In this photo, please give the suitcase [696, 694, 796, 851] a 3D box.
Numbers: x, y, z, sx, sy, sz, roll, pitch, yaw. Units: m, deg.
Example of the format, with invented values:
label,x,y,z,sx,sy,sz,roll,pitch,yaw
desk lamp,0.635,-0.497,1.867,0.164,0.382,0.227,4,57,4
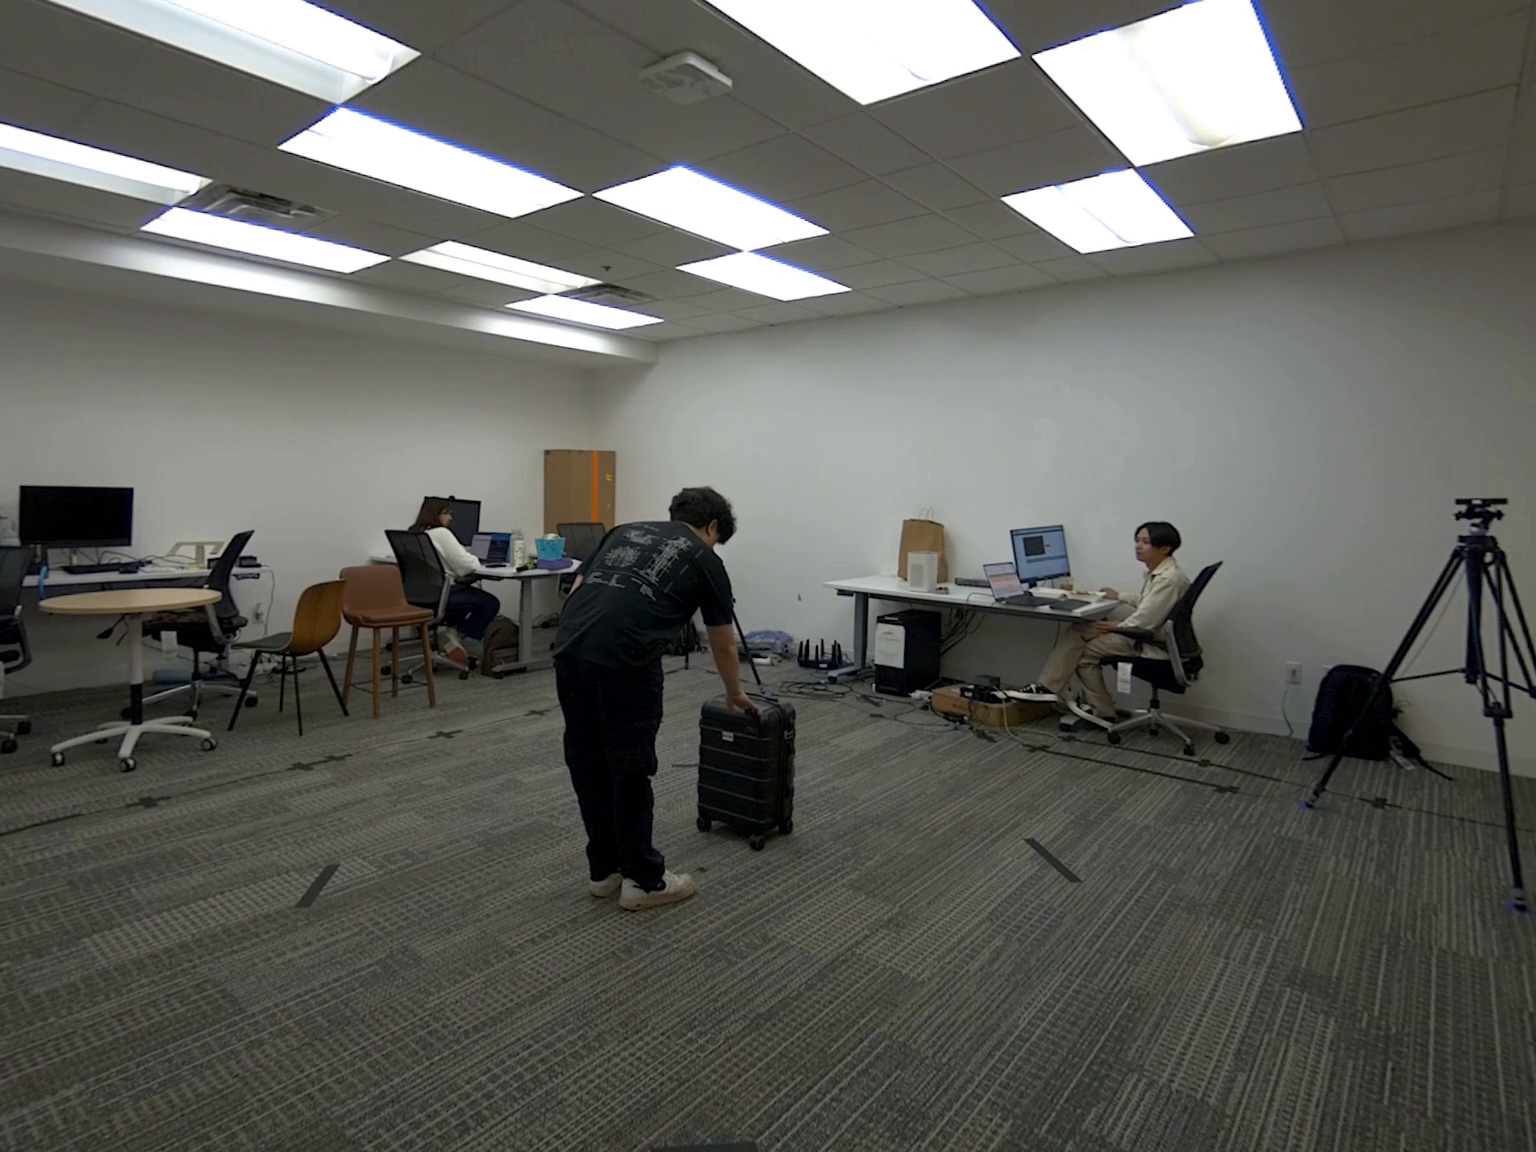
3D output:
label,x,y,z,sx,sy,sz,roll,pitch,yaw
suitcase,-0.096,0.760,3.470,0.387,0.549,0.241,3,2,34
